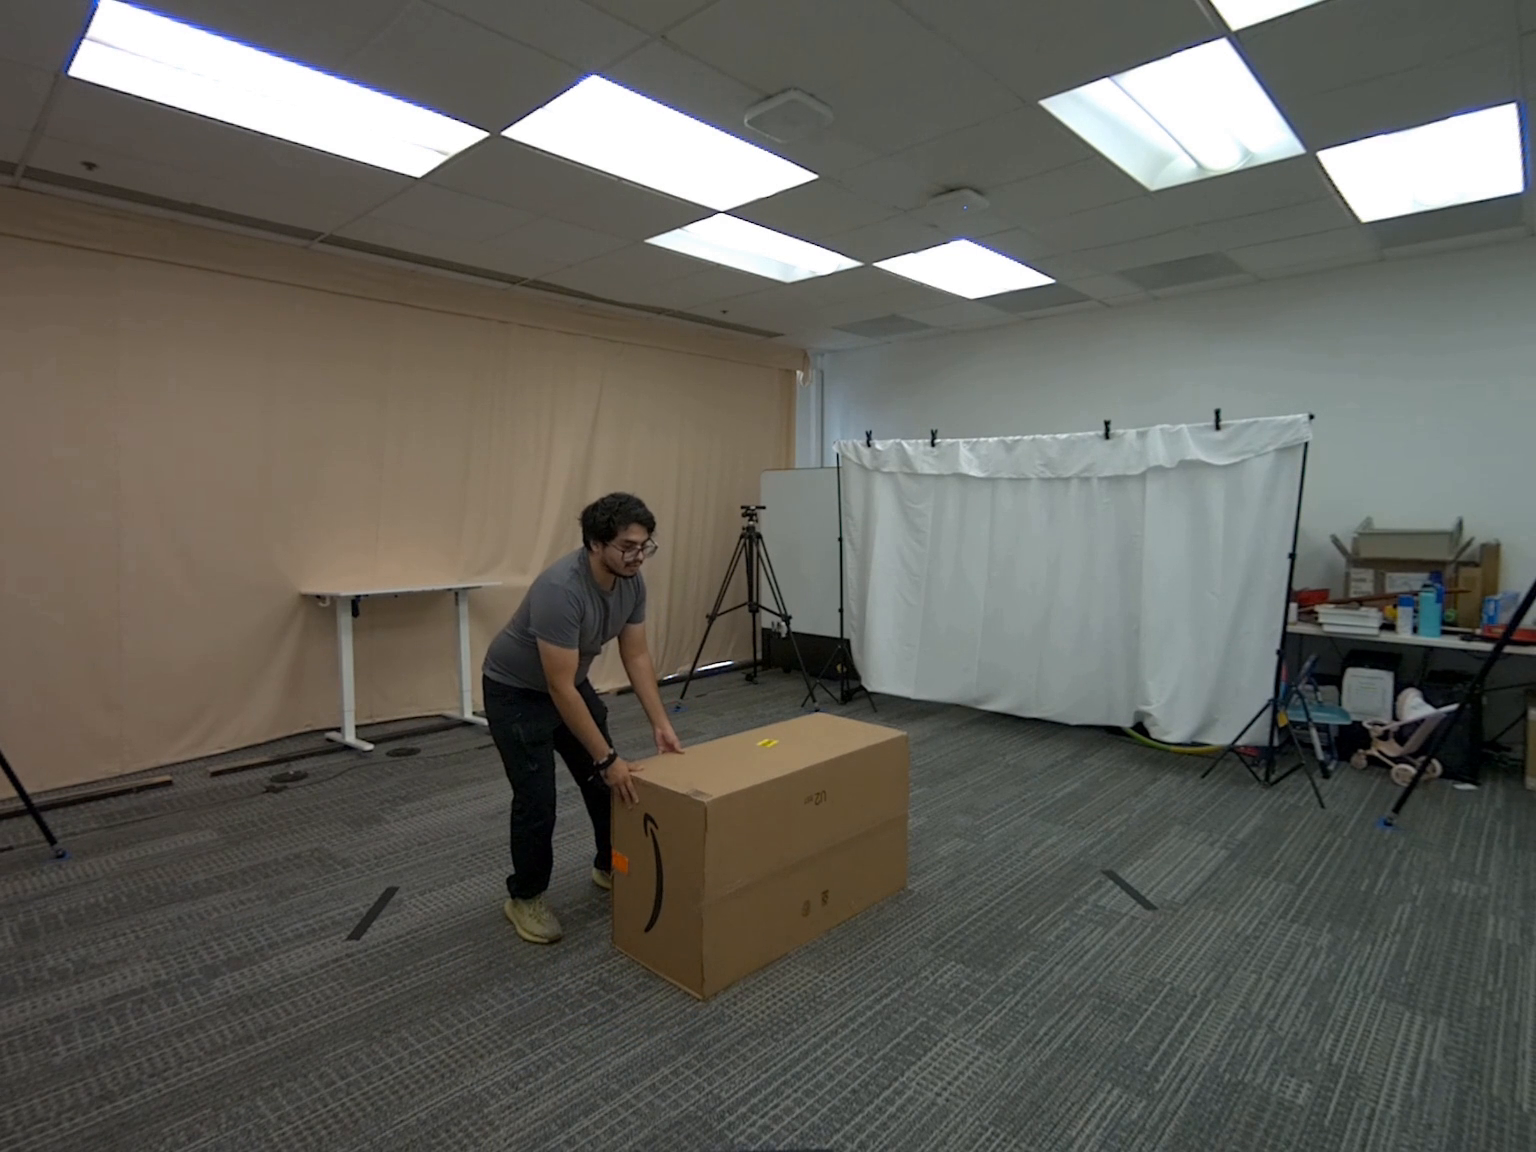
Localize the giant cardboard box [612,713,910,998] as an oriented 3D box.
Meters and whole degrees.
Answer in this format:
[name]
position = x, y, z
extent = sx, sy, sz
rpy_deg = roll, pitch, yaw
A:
[giant cardboard box]
position = 0.013, 0.870, 2.851
extent = 0.440, 0.576, 0.994
rpy_deg = 4, 6, 44
